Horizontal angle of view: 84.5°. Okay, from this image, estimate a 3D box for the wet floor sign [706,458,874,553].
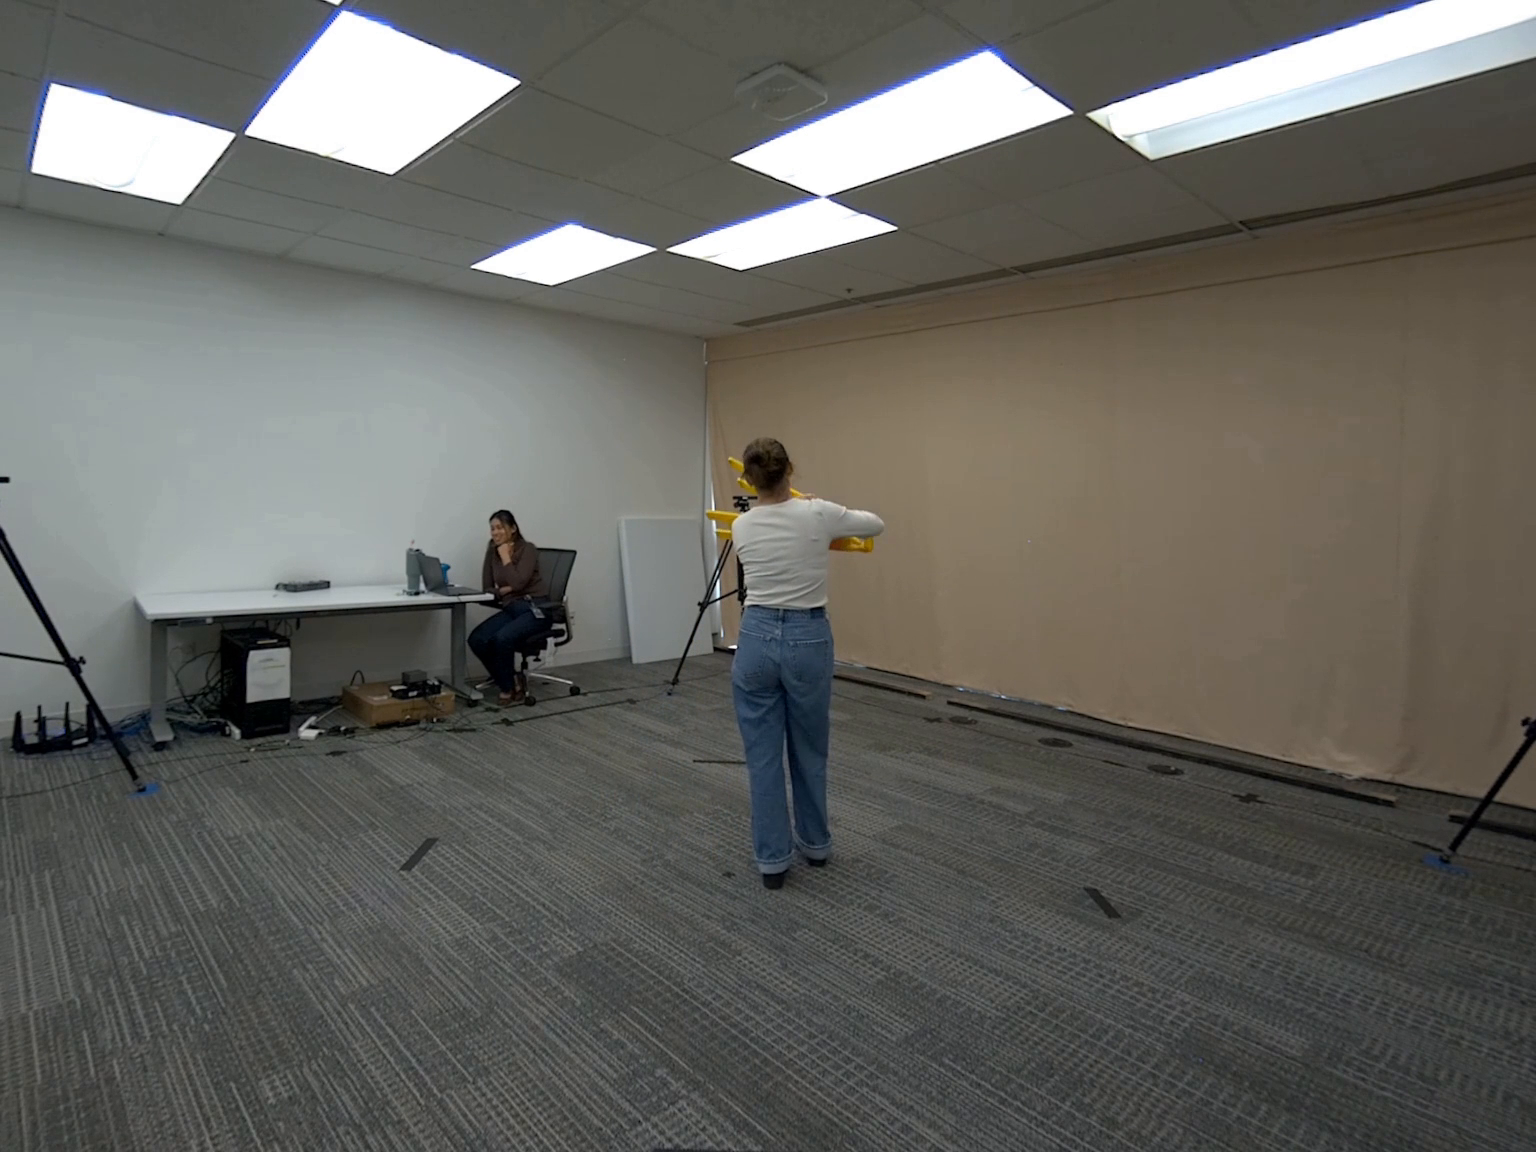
[{"bbox_3d":[0.115,-0.218,3.413,0.657,0.291,0.276,18,-16,17],"label":"wet floor sign"}]
